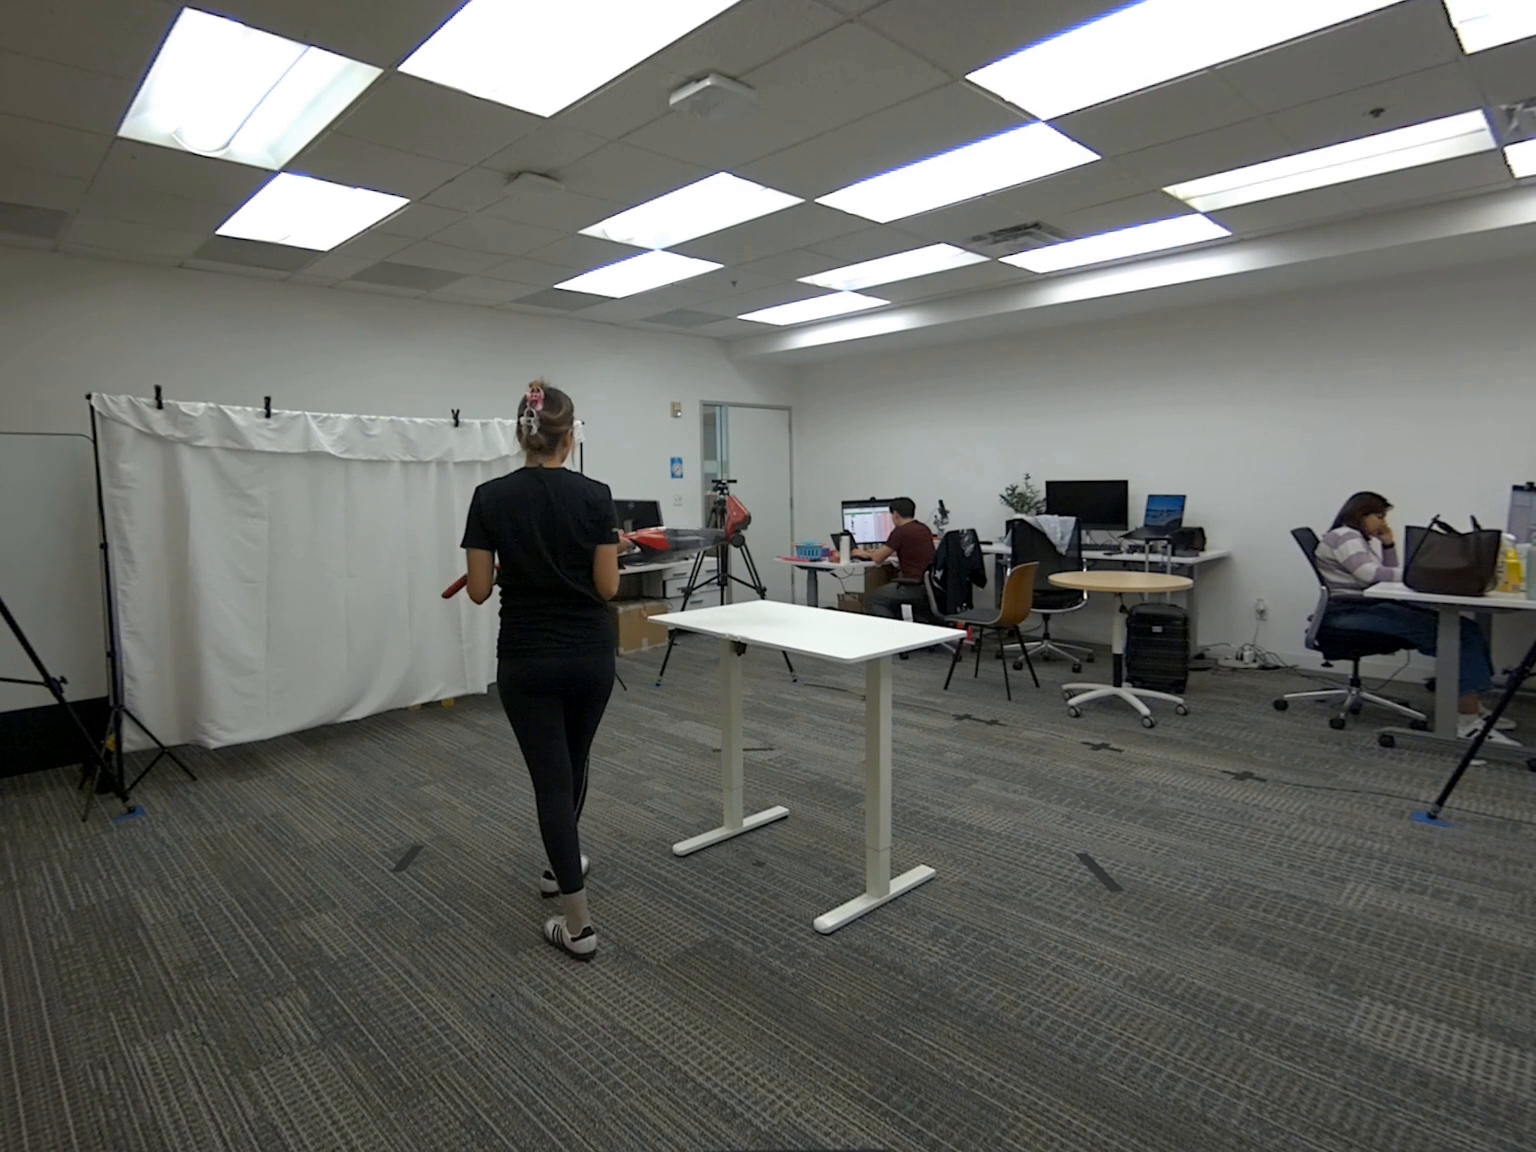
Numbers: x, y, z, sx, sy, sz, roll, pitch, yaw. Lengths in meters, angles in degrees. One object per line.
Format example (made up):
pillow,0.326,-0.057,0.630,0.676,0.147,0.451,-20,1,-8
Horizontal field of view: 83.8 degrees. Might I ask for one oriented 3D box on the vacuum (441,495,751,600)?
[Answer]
vacuum,-0.593,-0.064,2.956,1.044,0.141,0.259,-14,23,-7
